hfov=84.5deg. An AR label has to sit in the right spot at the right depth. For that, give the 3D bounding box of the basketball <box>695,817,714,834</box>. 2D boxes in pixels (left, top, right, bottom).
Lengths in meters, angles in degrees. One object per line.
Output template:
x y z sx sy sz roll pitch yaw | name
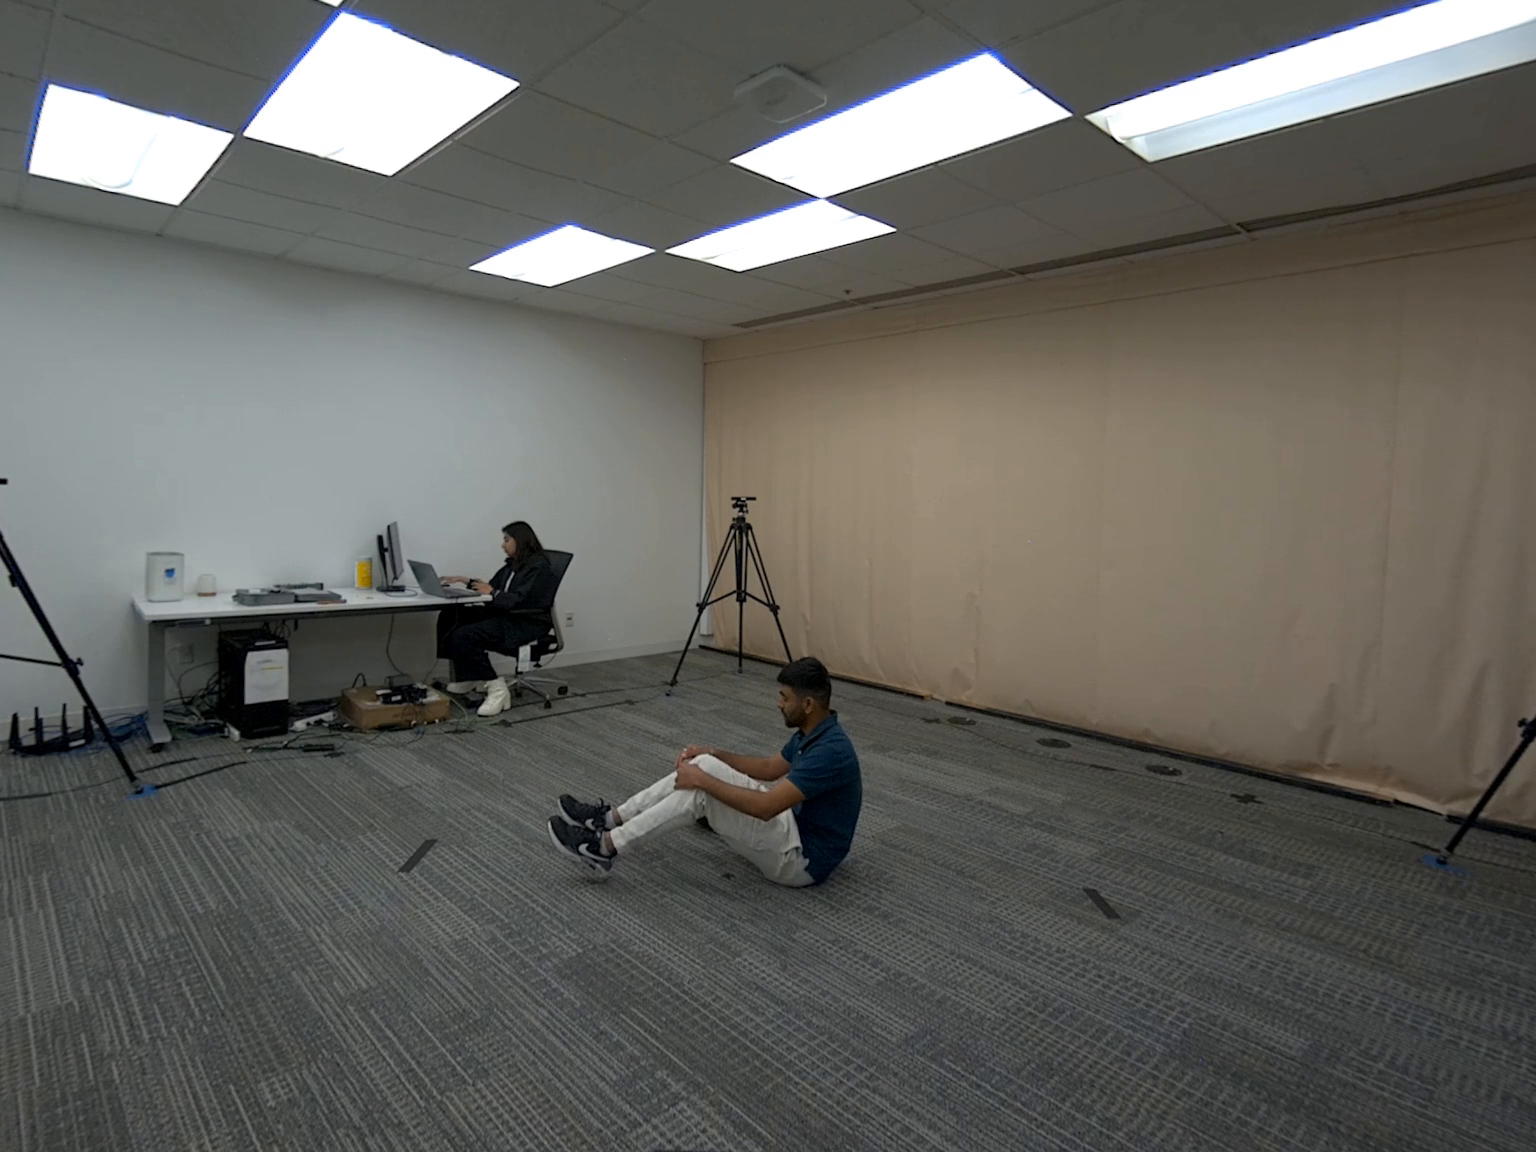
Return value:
-0.246 0.941 3.592 0.236 0.235 0.237 1 4 -1 | basketball
